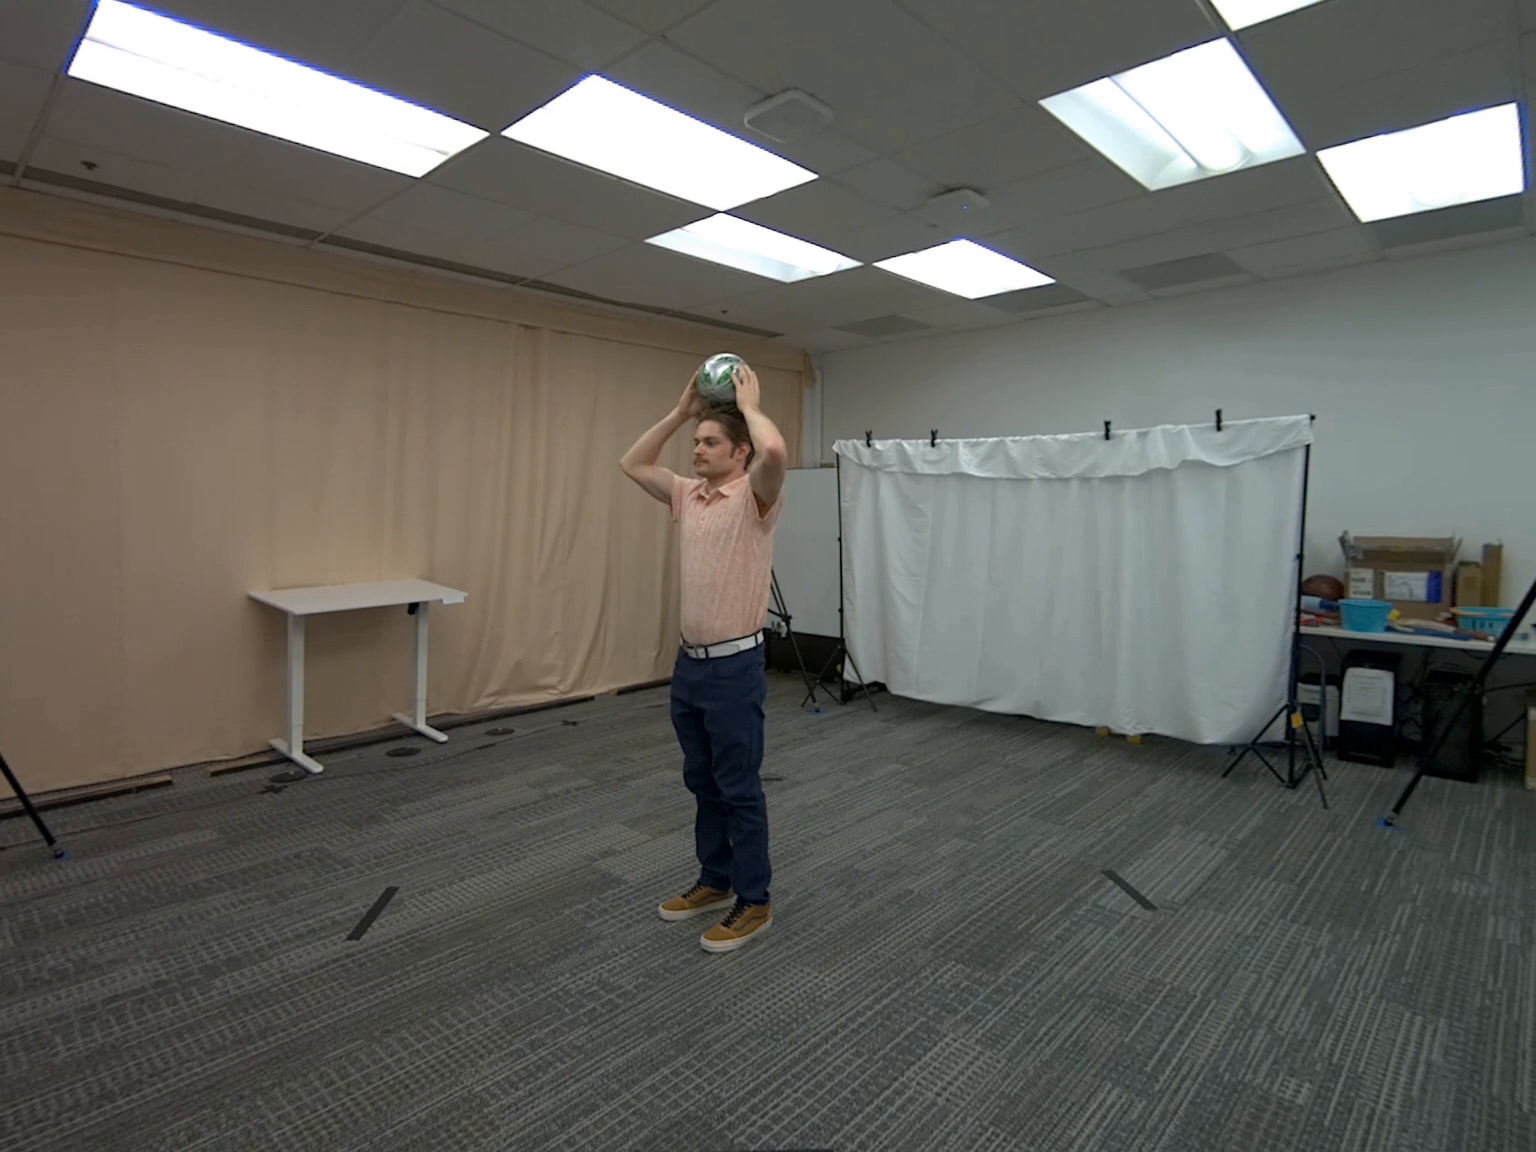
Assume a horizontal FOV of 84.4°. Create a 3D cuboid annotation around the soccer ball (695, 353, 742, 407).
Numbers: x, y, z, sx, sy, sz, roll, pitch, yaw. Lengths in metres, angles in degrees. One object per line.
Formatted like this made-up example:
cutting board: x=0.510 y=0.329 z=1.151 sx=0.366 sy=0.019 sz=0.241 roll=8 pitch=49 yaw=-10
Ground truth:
soccer ball: x=-0.134 y=-0.627 z=2.769 sx=0.187 sy=0.187 sz=0.188 roll=0 pitch=4 yaw=-2
